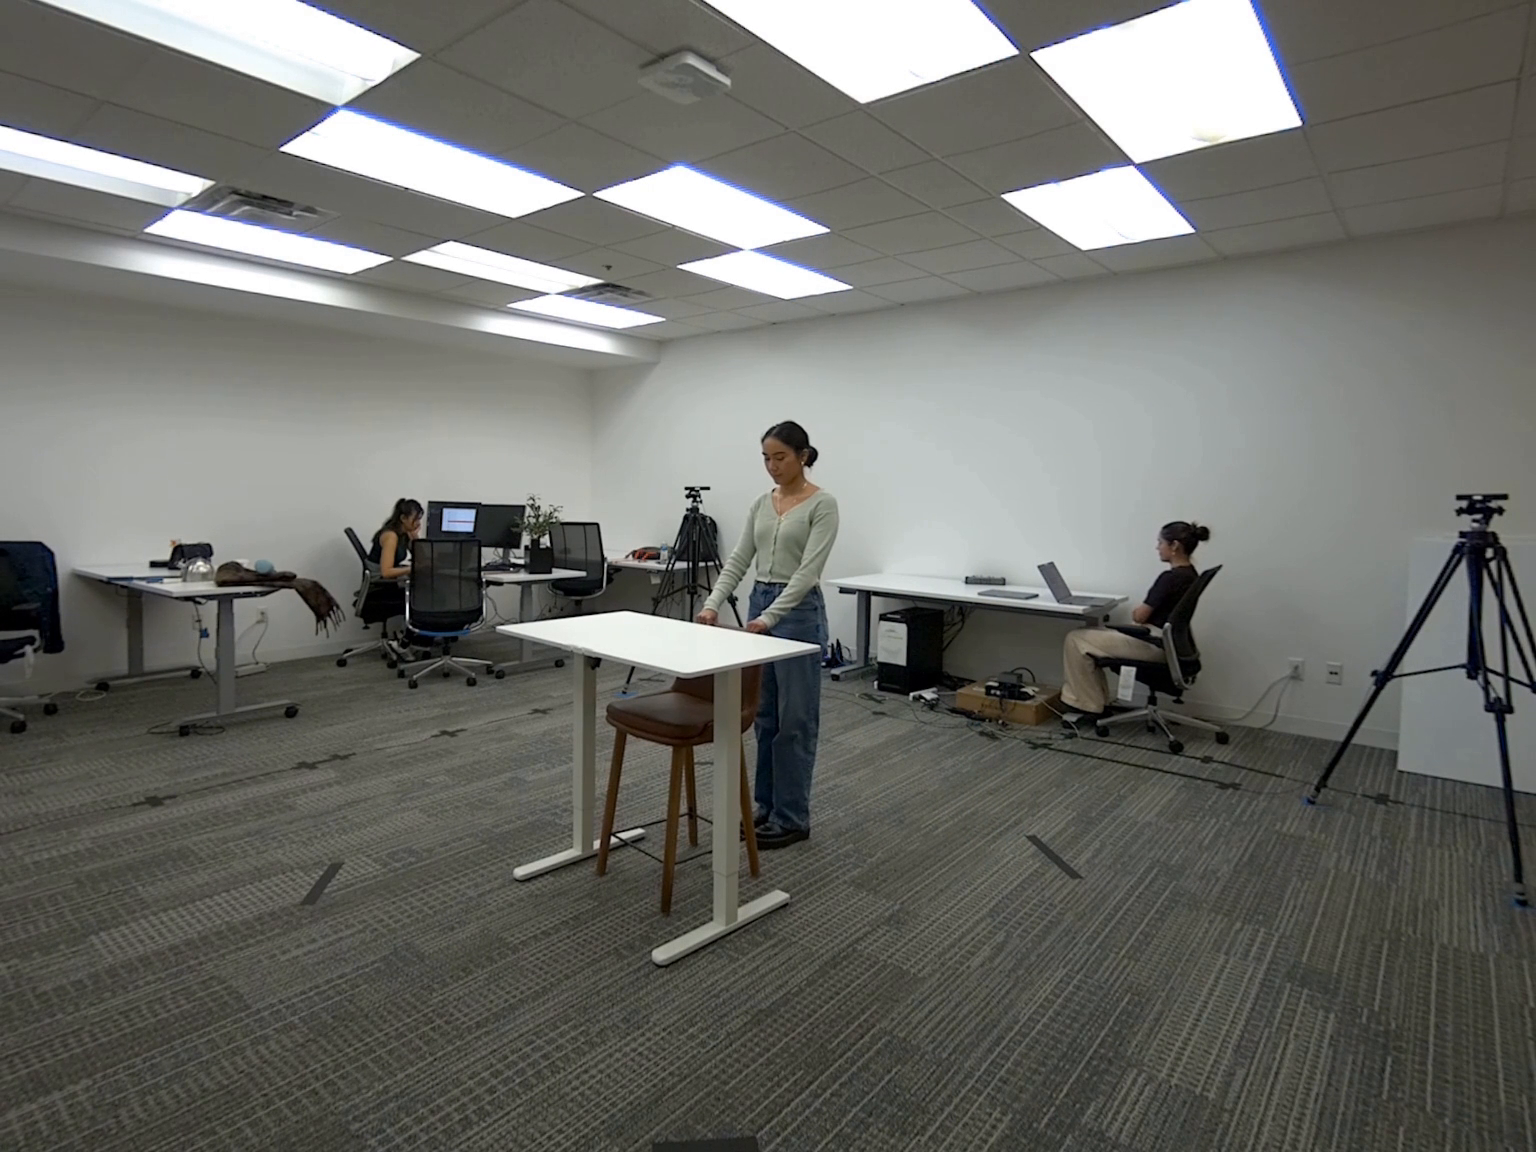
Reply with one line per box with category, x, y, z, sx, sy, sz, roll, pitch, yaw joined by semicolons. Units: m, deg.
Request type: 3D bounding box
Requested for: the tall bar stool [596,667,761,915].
tall bar stool;-0.307;0.638;3.033;0.453;0.889;0.472;1;1;-42
